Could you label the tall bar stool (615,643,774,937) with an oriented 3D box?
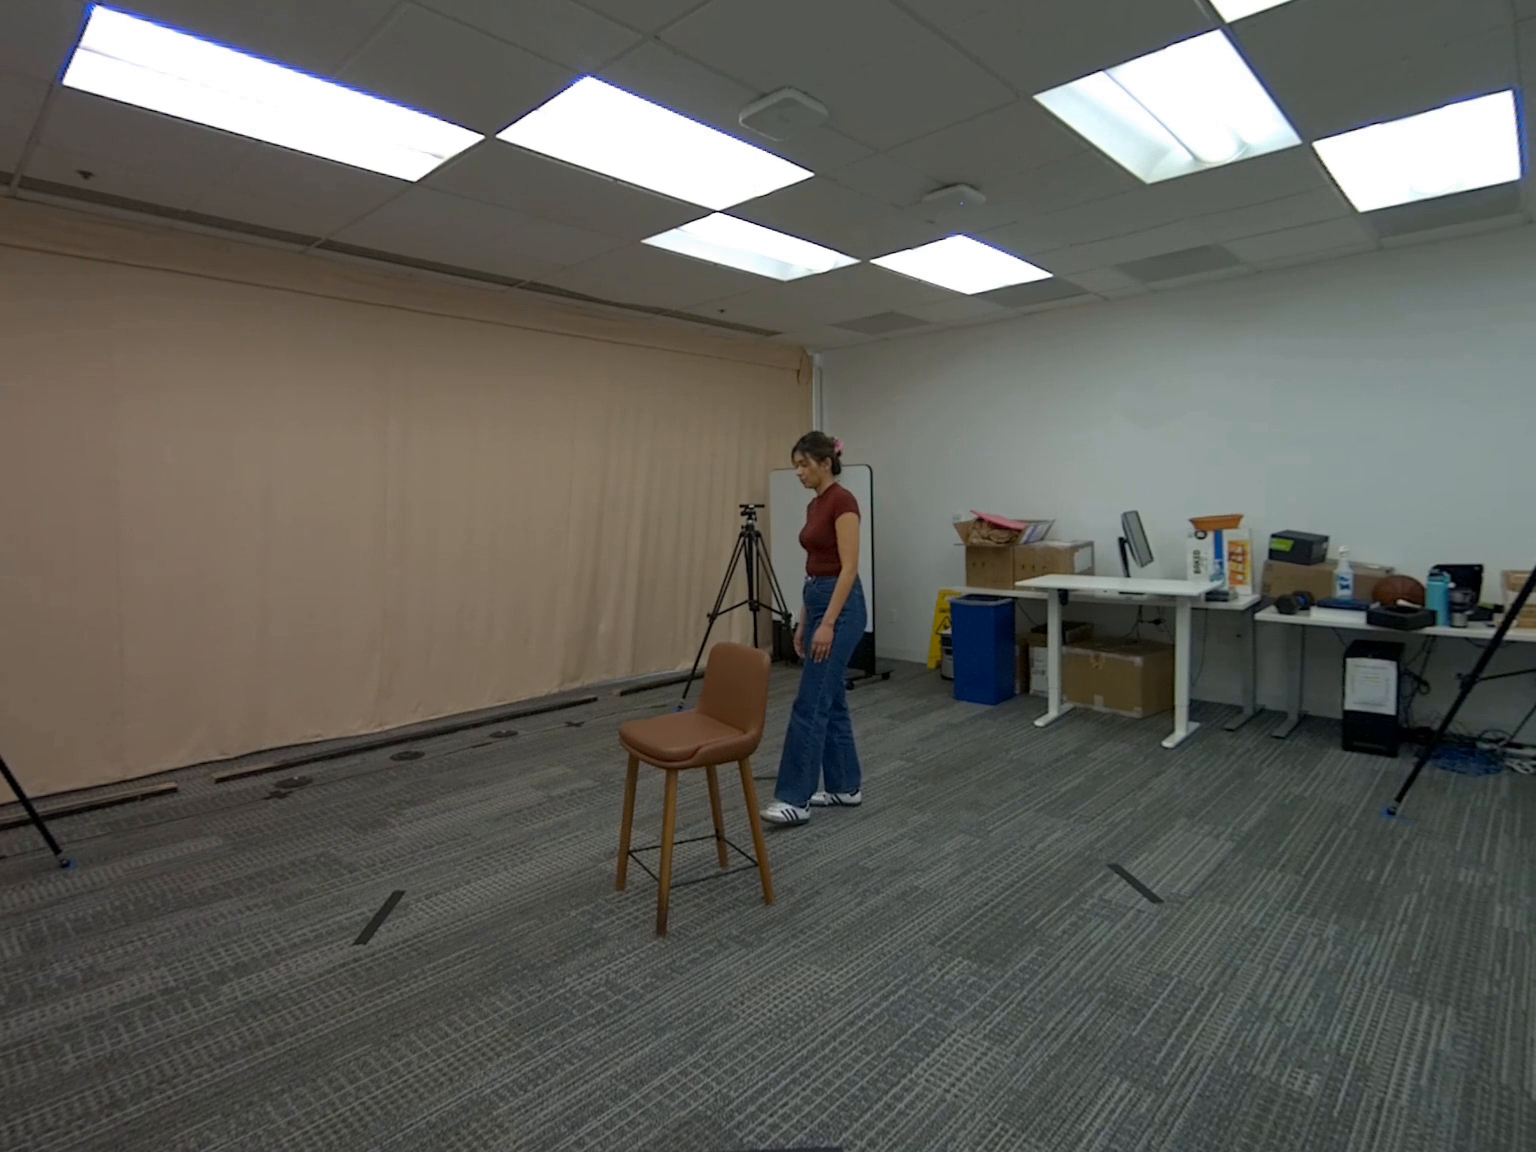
[{"bbox_3d":[-0.263,0.708,2.978,0.455,0.888,0.470,-1,3,-29],"label":"tall bar stool"}]
